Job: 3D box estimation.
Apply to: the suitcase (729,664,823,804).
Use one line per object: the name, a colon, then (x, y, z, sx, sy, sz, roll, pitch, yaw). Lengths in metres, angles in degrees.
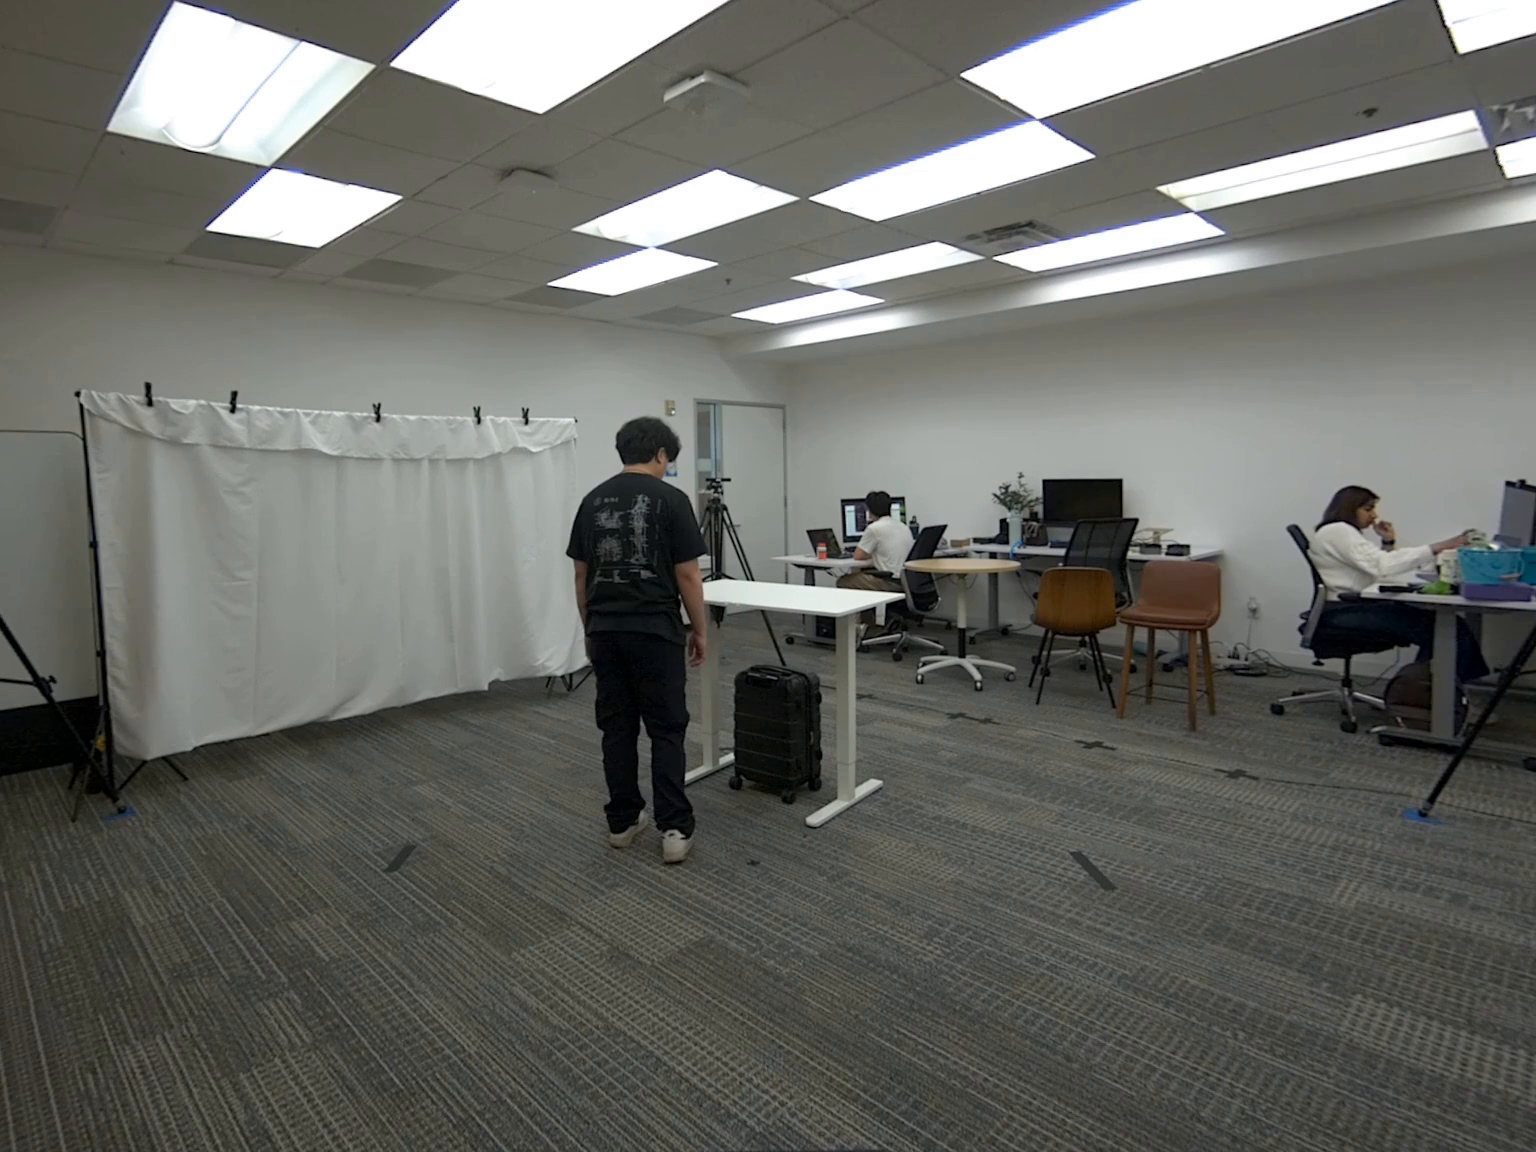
suitcase: (0.040, 0.683, 3.853, 0.386, 0.548, 0.241, 2, 3, 39)
